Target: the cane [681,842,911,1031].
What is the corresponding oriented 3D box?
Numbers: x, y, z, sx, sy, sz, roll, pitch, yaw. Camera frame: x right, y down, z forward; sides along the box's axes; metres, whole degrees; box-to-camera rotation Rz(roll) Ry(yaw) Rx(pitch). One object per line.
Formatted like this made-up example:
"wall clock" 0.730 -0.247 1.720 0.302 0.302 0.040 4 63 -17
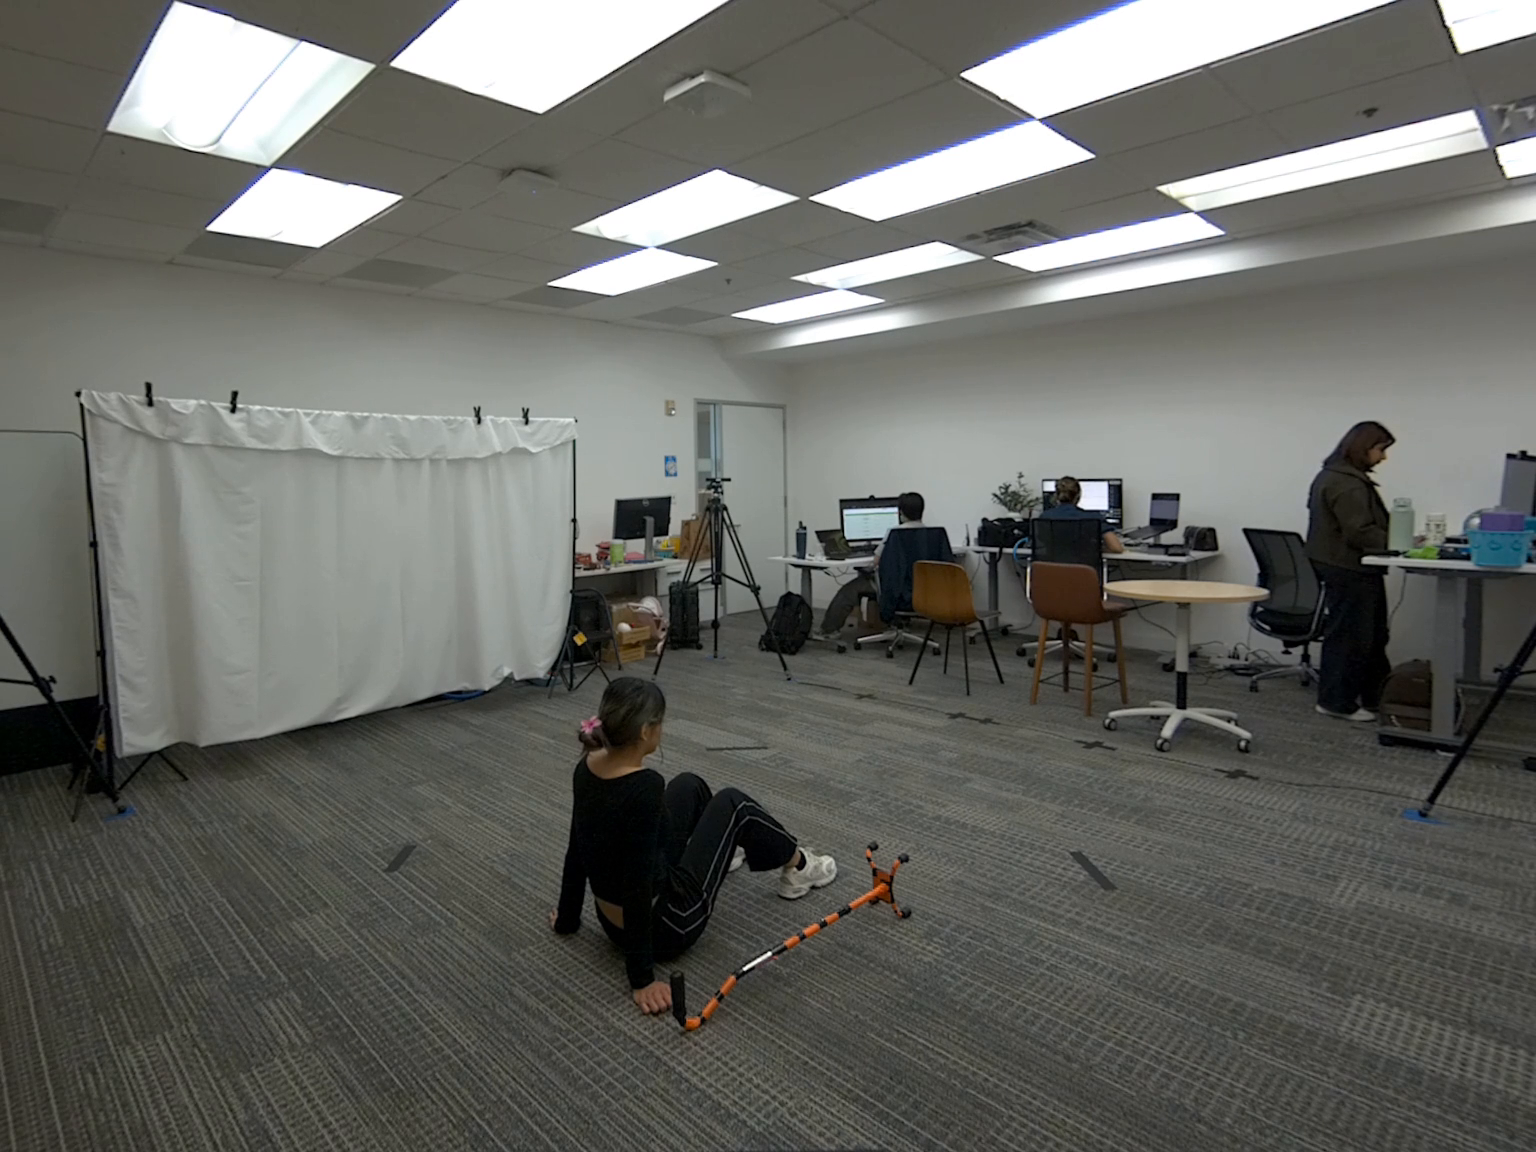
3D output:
"cane" 0.082 1.023 2.449 0.886 0.205 0.156 -11 11 -42
